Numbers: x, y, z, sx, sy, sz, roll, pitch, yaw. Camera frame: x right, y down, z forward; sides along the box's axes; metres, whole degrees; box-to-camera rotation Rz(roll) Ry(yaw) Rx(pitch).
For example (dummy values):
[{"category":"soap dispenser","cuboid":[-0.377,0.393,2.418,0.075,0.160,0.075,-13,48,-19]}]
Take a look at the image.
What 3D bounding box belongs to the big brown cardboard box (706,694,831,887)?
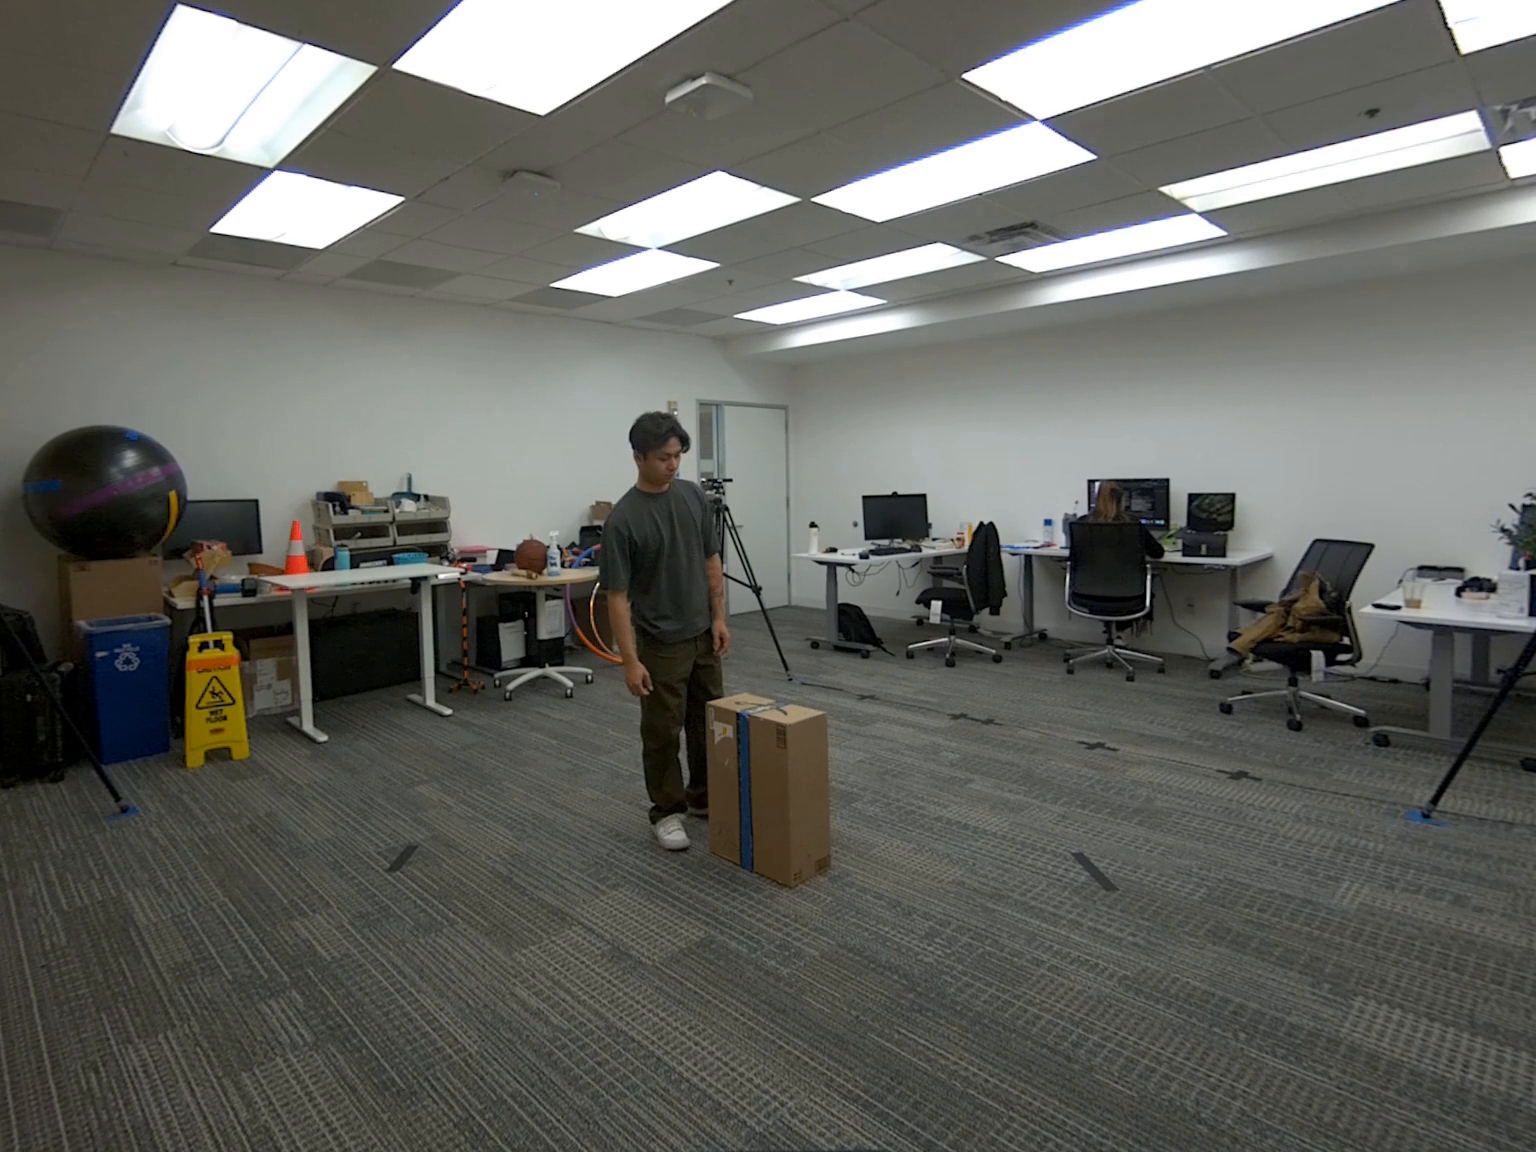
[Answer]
[{"category":"big brown cardboard box","cuboid":[-0.004,0.755,3.114,0.227,0.587,0.430,-5,5,-44]}]
